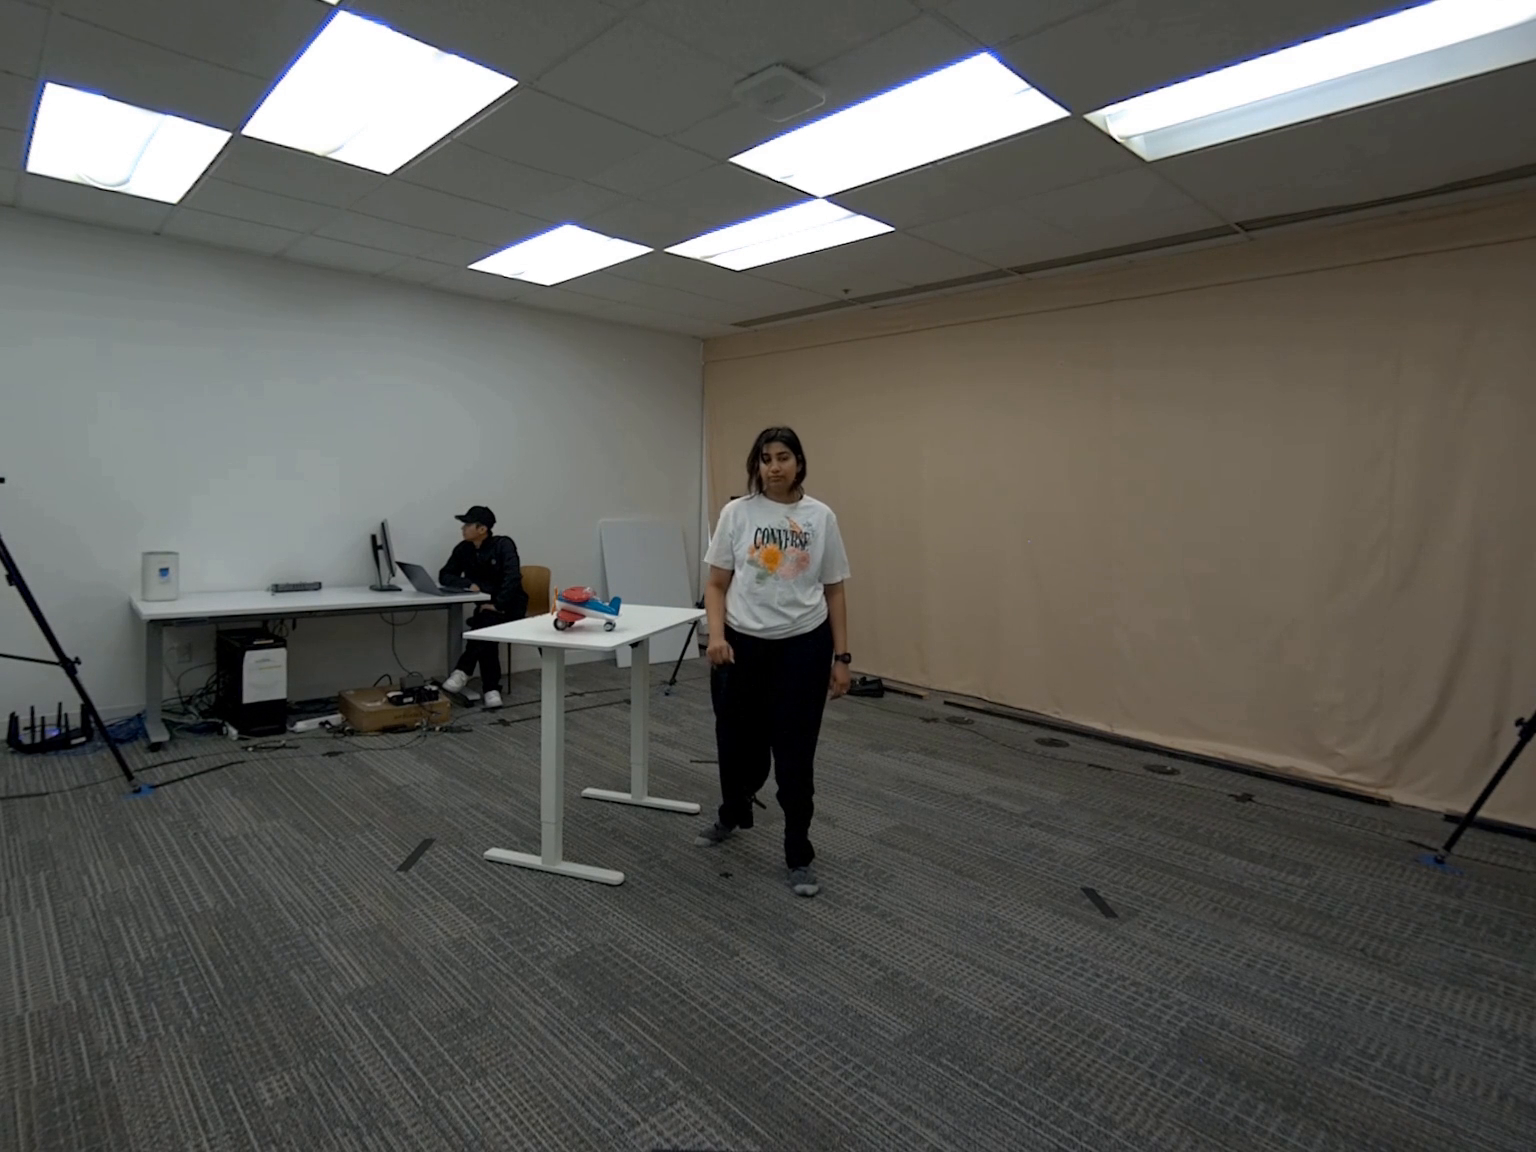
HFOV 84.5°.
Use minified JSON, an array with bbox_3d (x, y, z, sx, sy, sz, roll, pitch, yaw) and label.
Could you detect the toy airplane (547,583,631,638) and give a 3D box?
[{"bbox_3d":[-0.682,0.124,3.200,0.255,0.156,0.255,-4,5,-21],"label":"toy airplane"}]
